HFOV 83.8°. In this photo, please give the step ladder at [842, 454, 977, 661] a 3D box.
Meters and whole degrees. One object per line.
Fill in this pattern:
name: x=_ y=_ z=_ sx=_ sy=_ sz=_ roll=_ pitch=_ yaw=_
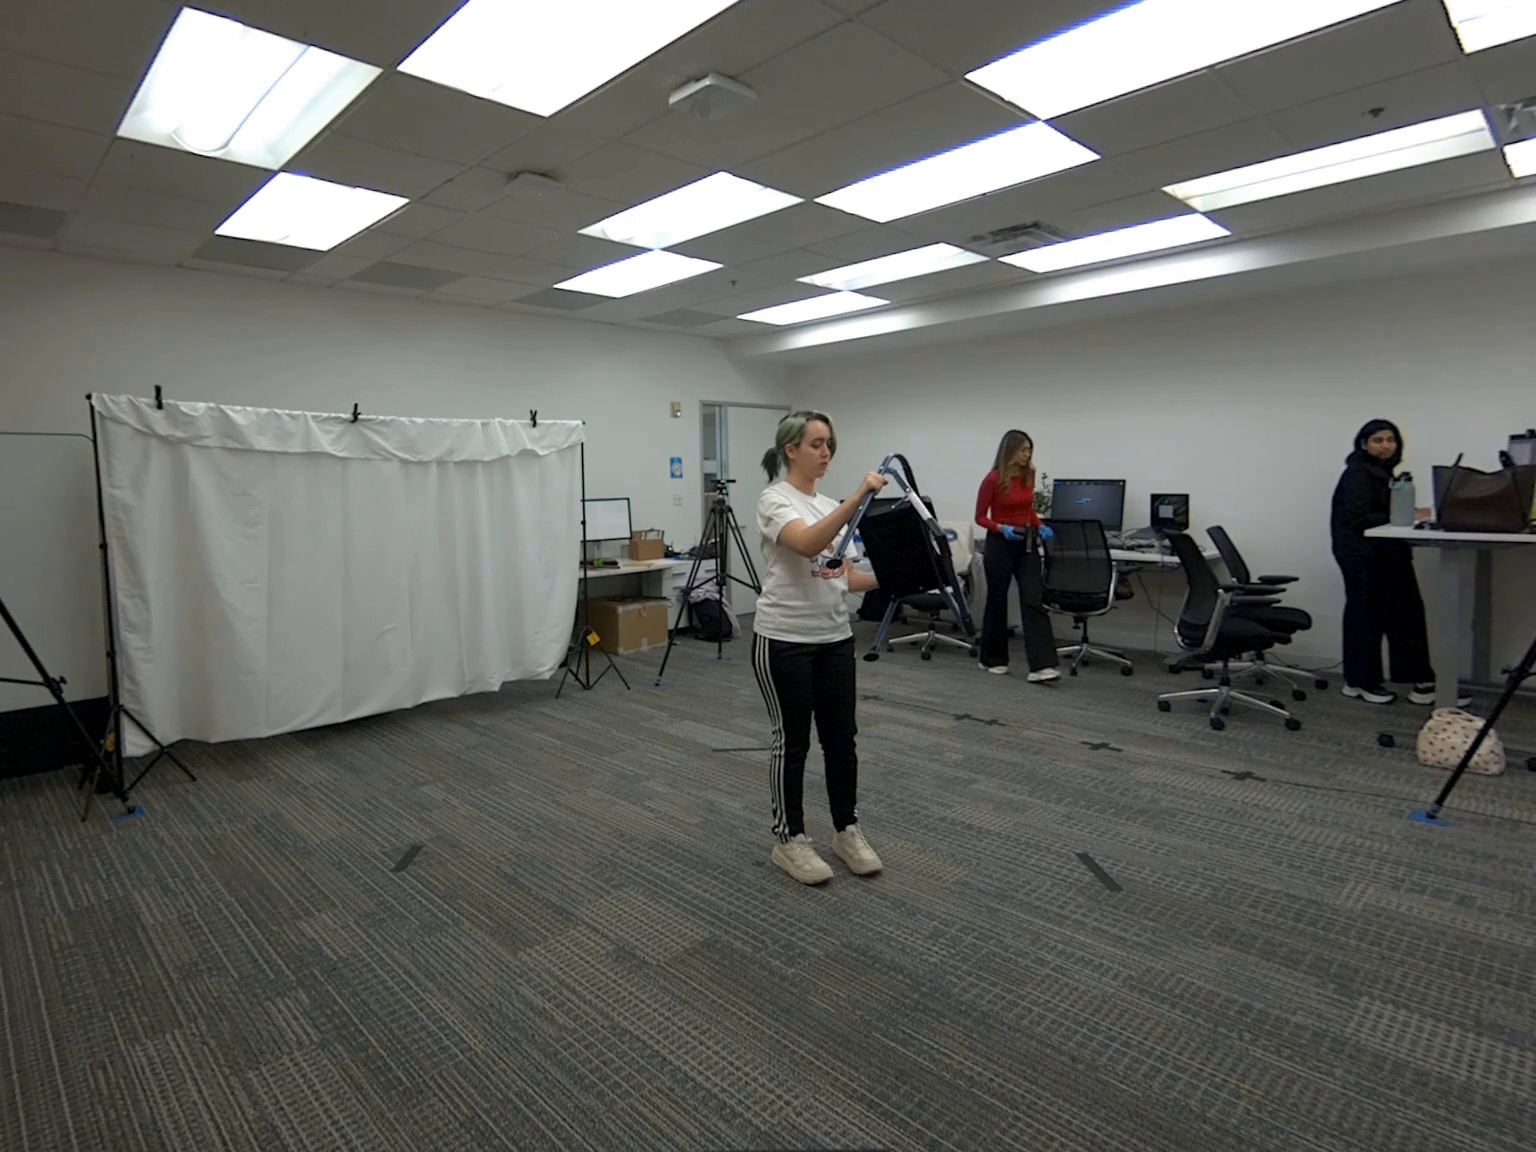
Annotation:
step ladder: x=0.422 y=-0.115 z=2.785 sx=0.353 sy=0.416 sz=0.619 roll=-14 pitch=35 yaw=16
